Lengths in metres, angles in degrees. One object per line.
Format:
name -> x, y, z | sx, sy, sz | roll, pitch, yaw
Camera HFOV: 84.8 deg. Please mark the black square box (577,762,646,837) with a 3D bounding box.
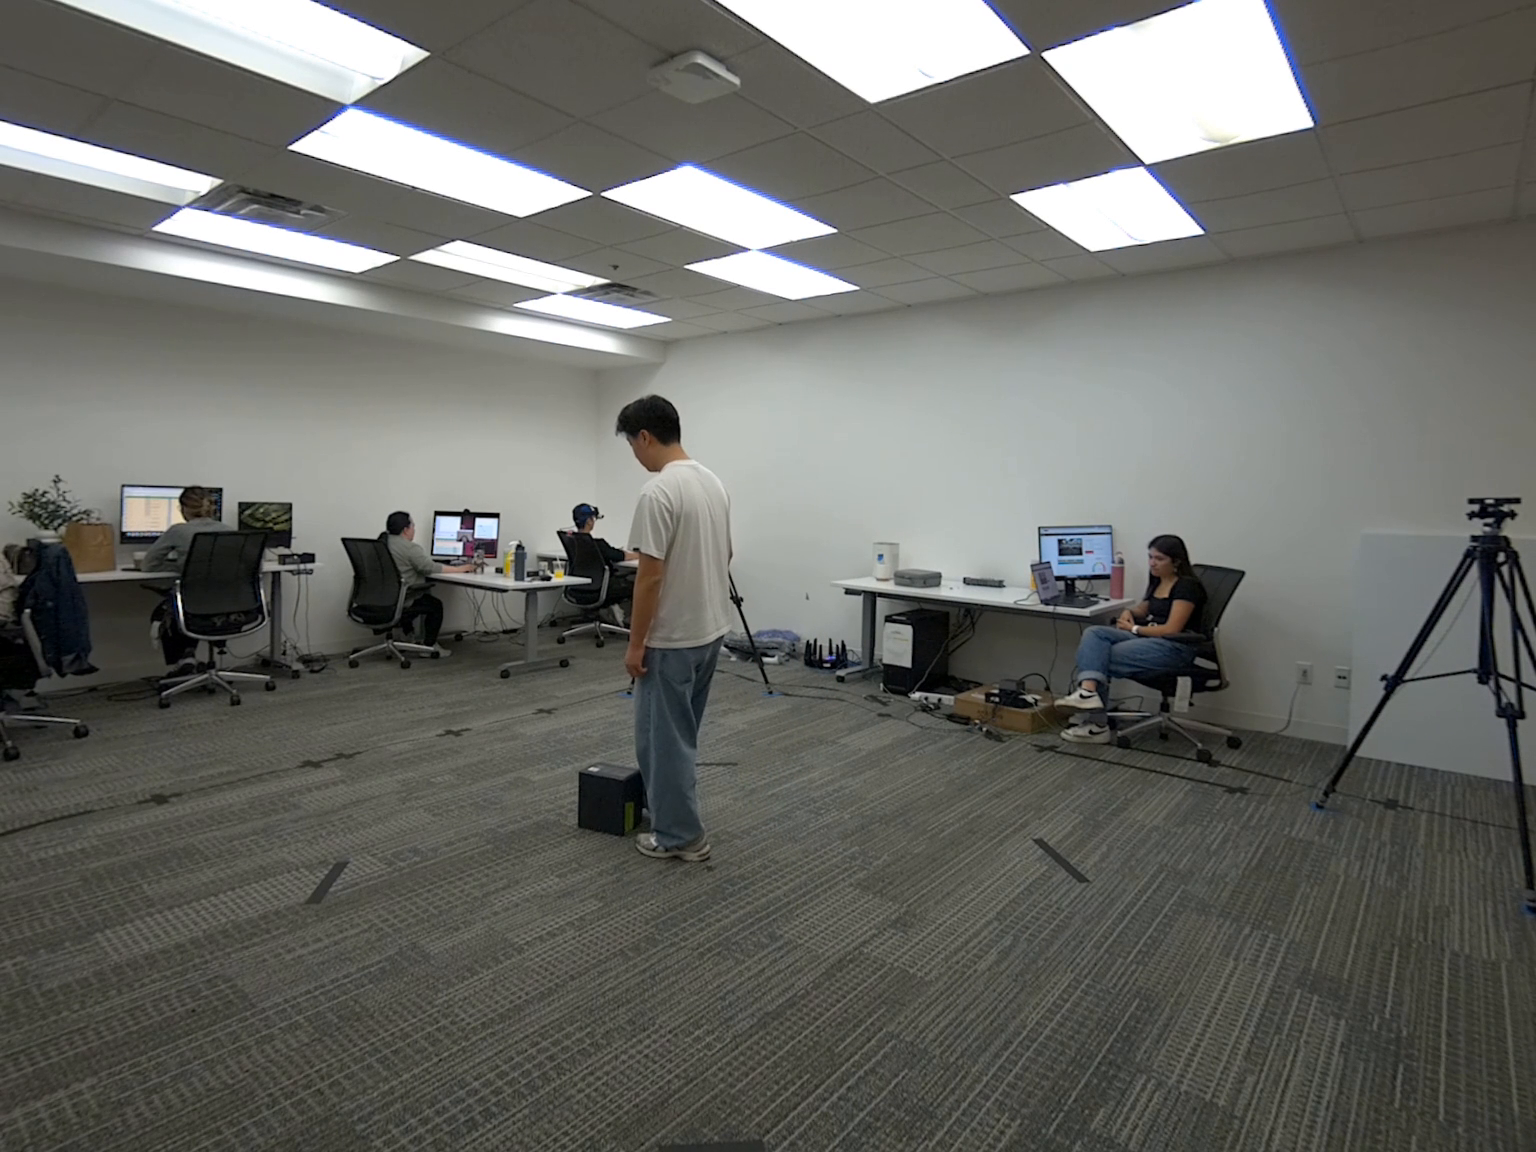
black square box -> -0.659, 0.903, 3.475 | 0.222, 0.227, 0.153 | 3, 4, 23
